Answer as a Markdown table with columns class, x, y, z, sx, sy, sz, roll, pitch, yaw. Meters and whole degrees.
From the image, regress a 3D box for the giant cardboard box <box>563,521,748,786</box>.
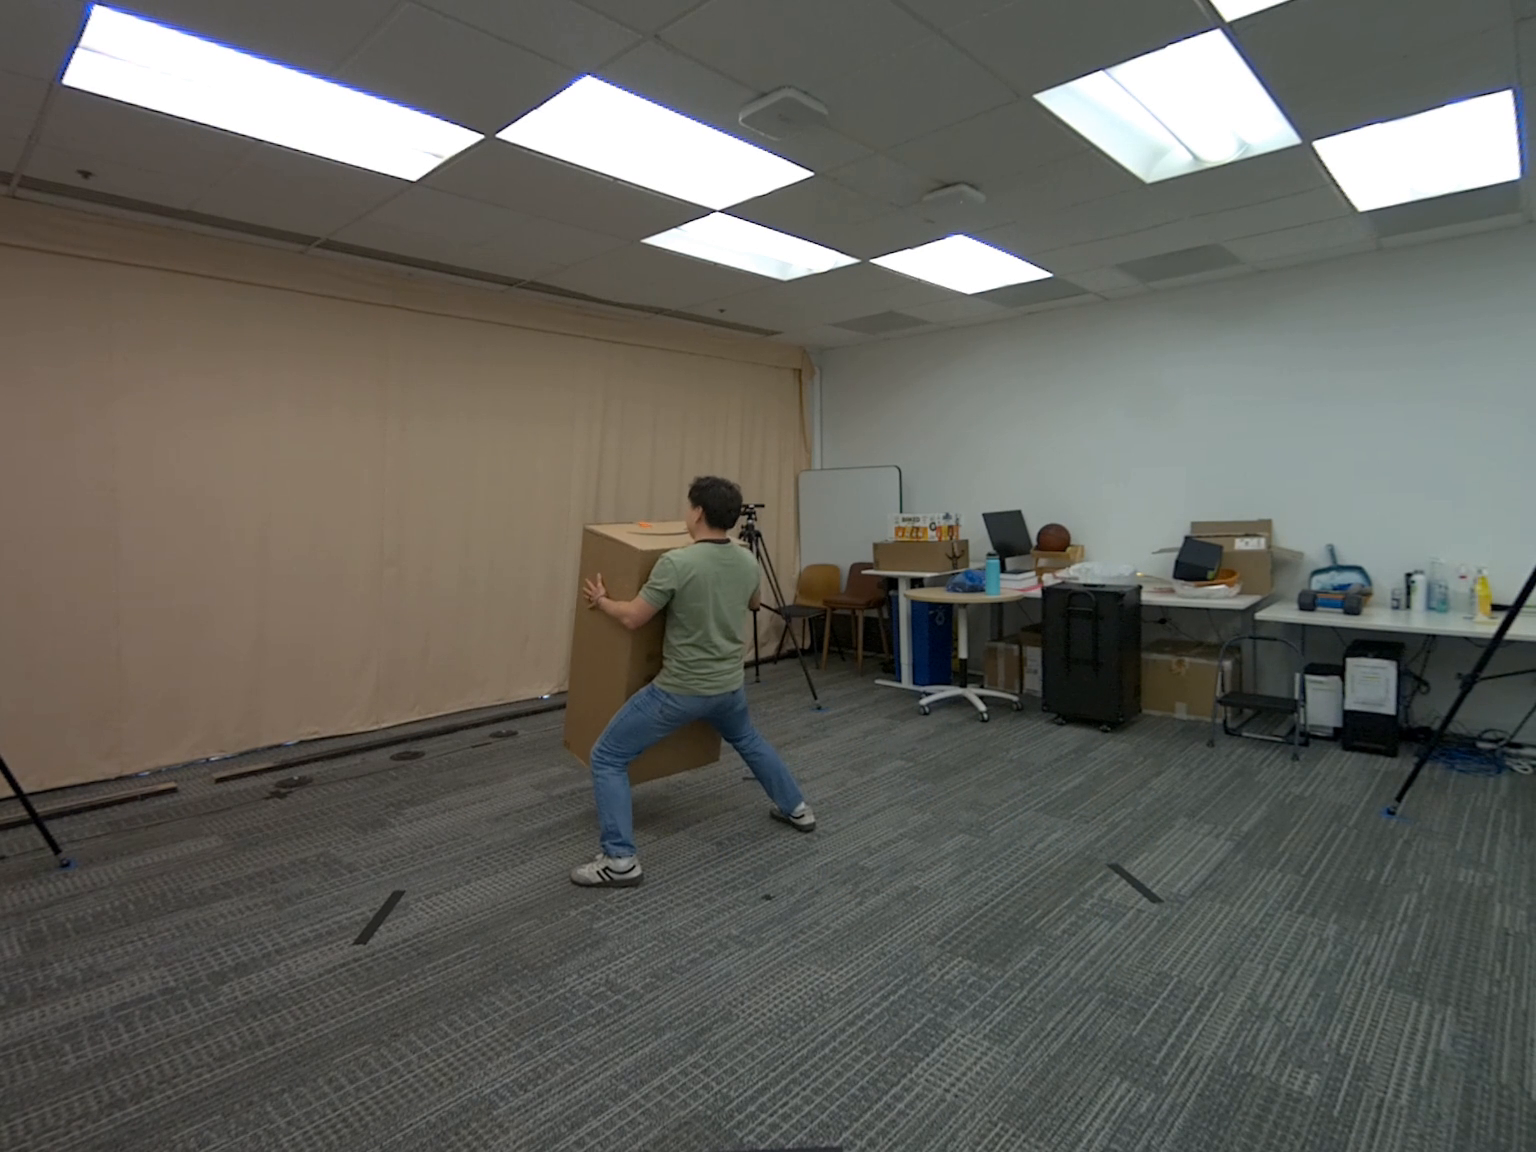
| class | x | y | z | sx | sy | sz | roll | pitch | yaw |
| --- | --- | --- | --- | --- | --- | --- | --- | --- | --- |
| giant cardboard box | -0.496 | 0.318 | 3.666 | 0.560 | 1.019 | 0.442 | -4 | 17 | -42 |
